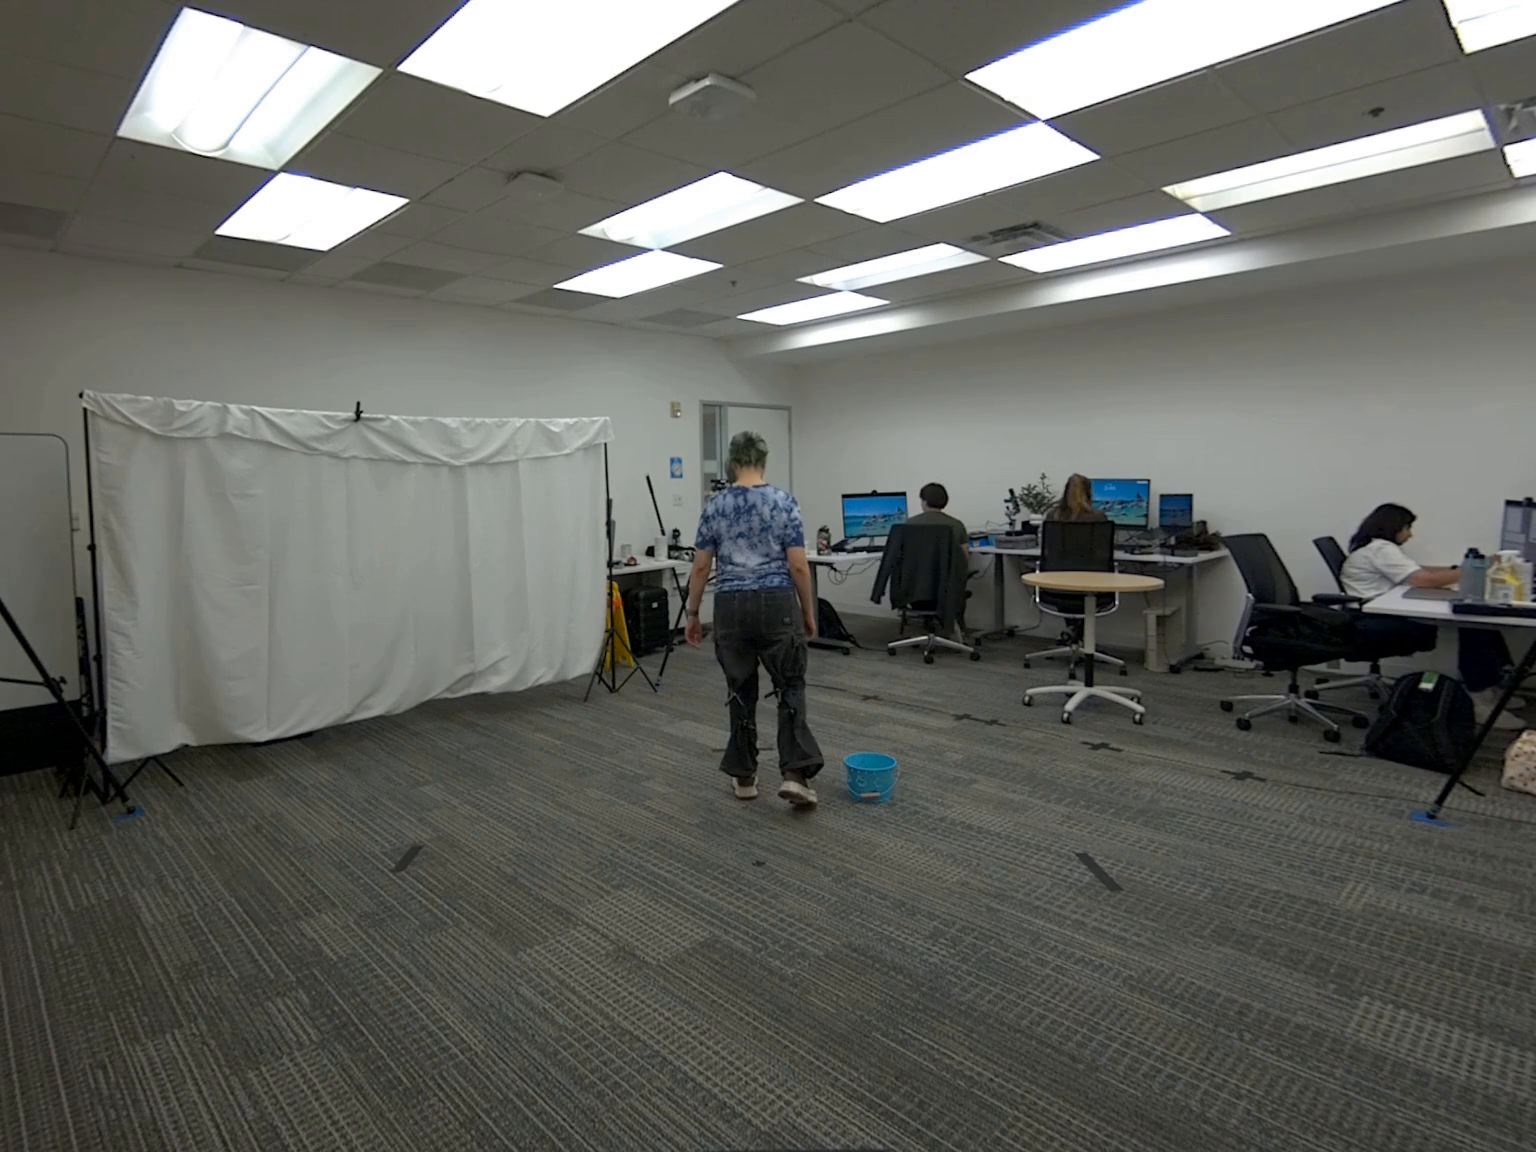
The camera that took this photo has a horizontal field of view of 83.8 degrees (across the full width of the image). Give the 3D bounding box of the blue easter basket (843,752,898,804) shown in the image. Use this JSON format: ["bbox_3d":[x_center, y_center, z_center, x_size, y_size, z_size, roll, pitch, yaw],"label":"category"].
[{"bbox_3d":[0.450,0.884,3.764,0.243,0.155,0.245,-2,5,-2],"label":"blue easter basket"}]
